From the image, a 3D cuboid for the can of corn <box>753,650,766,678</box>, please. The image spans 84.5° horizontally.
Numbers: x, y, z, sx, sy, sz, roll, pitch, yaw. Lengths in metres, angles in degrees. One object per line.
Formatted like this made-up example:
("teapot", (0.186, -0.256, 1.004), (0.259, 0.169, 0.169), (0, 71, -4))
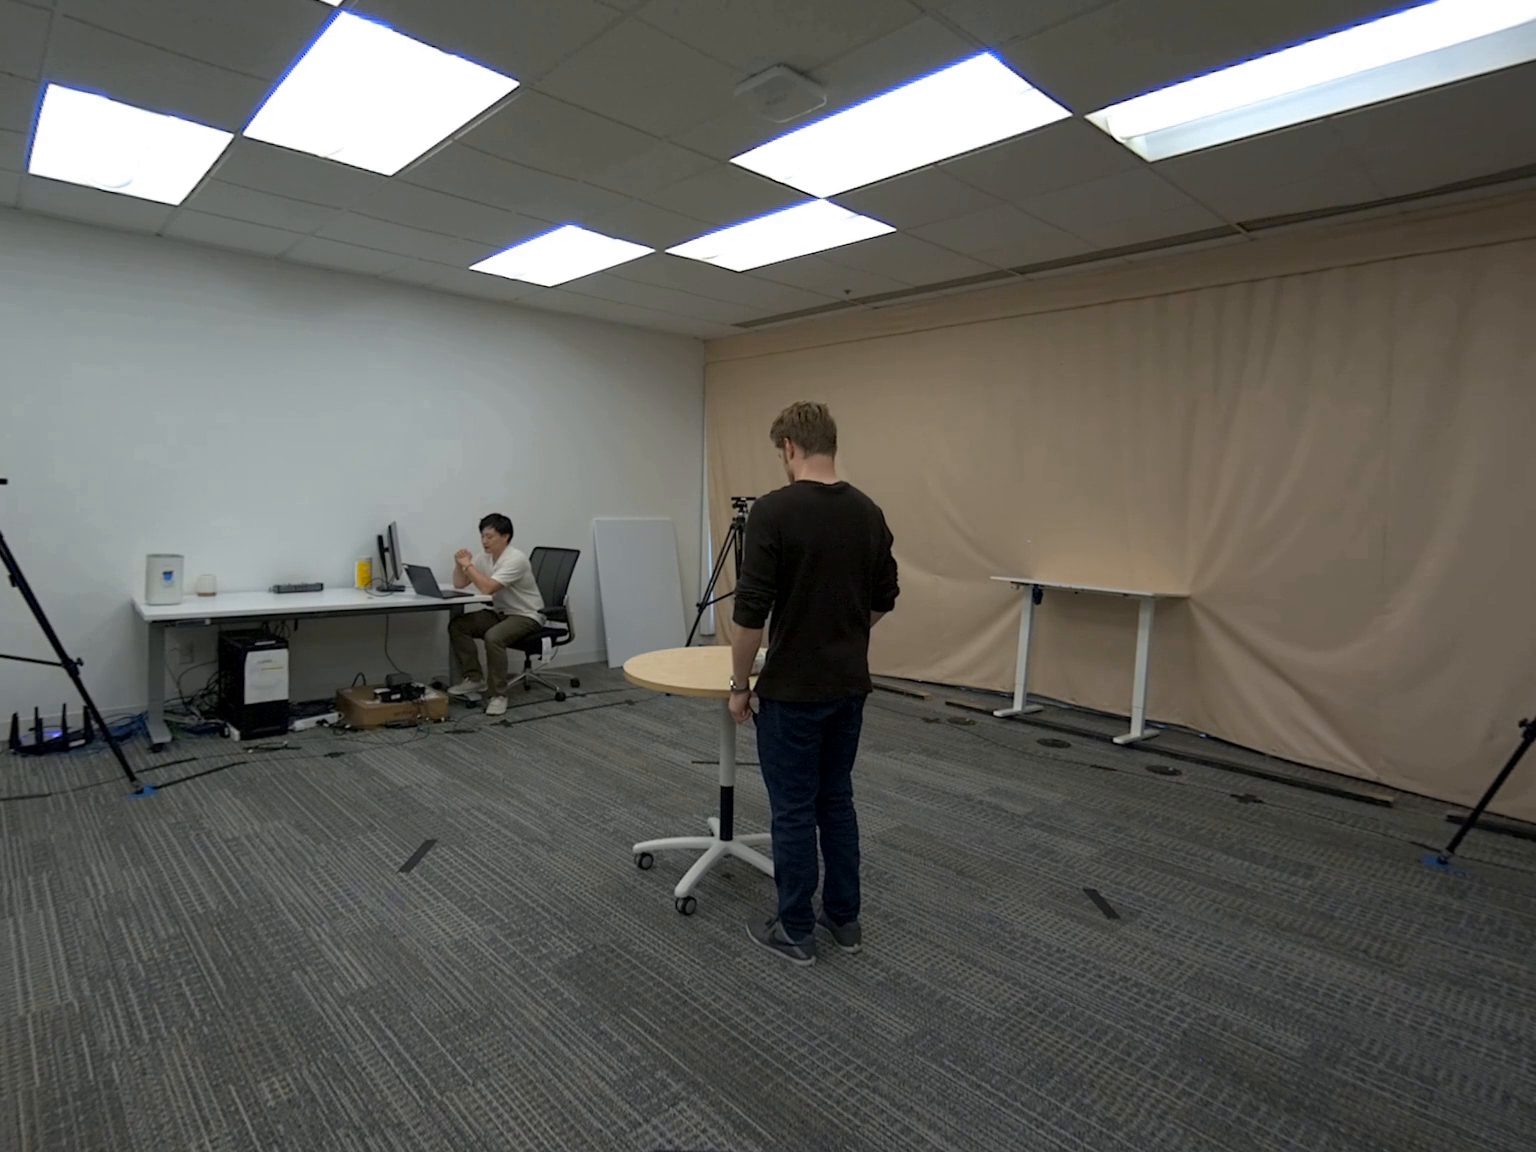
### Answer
("can of corn", (-0.042, 0.302, 2.929), (0.109, 0.074, 0.076), (-1, 5, -26))
